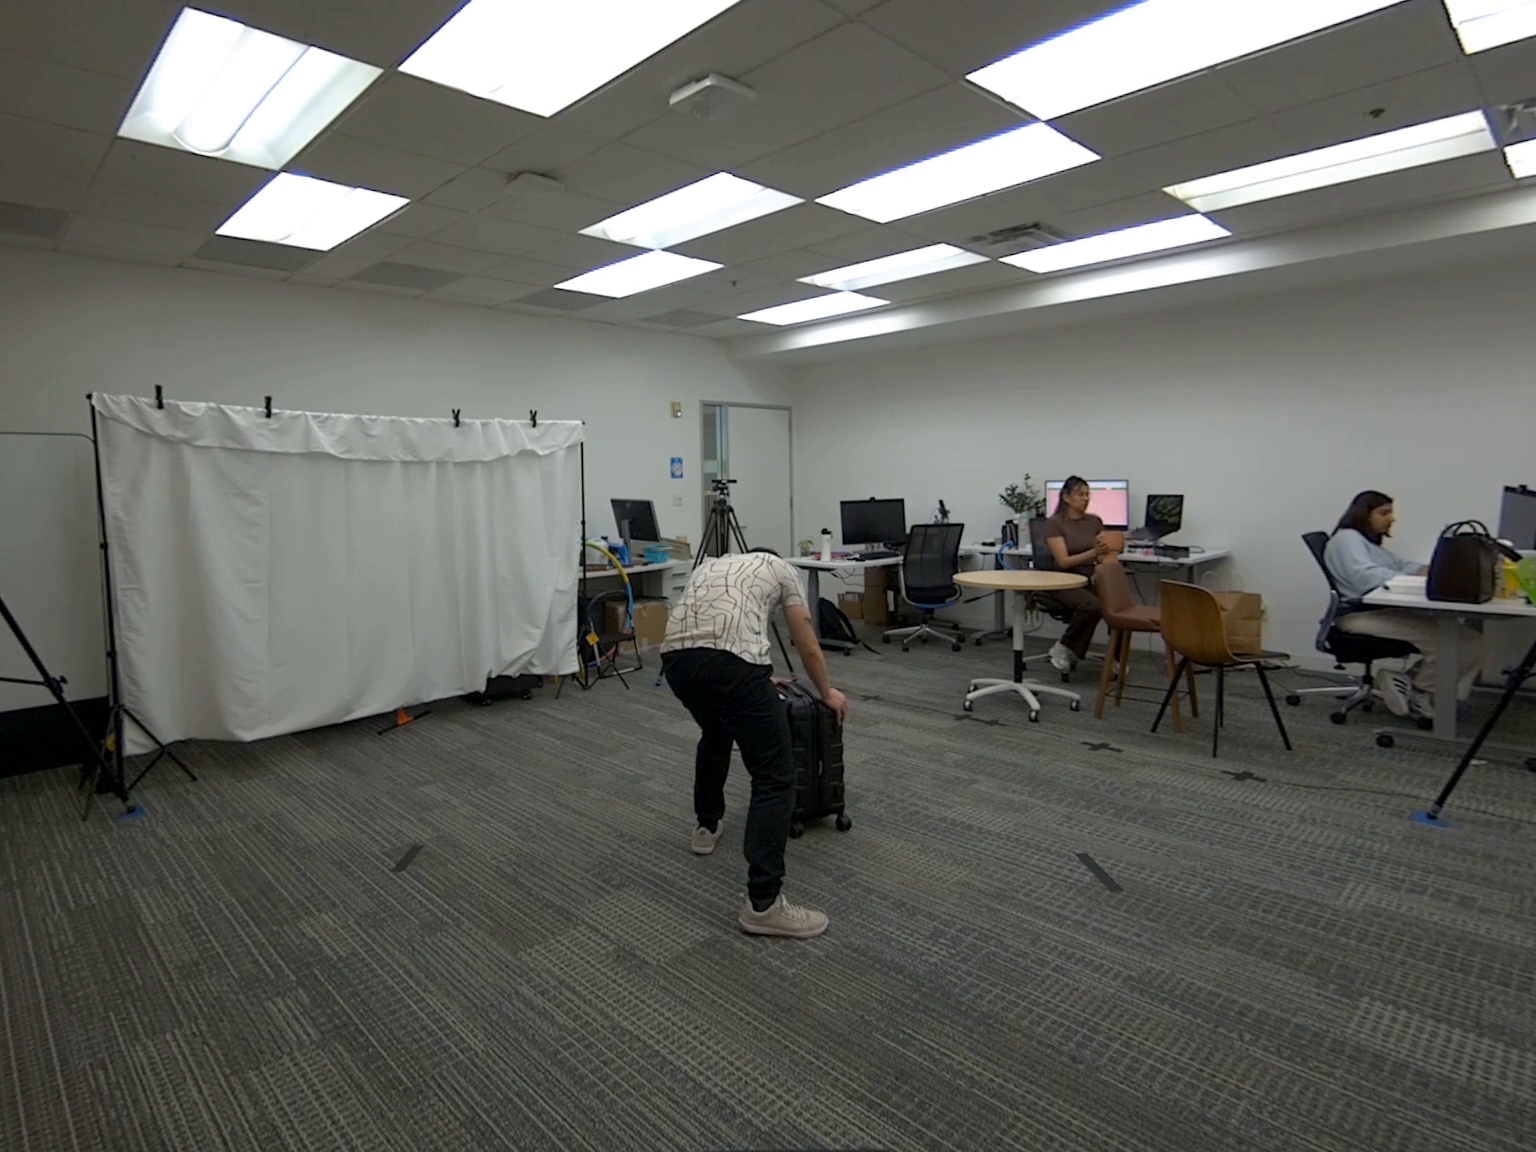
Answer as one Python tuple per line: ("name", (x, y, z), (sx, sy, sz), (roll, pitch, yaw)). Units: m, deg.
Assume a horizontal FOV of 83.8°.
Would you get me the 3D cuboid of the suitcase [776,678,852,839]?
("suitcase", (0.145, 0.724, 3.517), (0.244, 0.547, 0.383), (-4, 4, -19))
